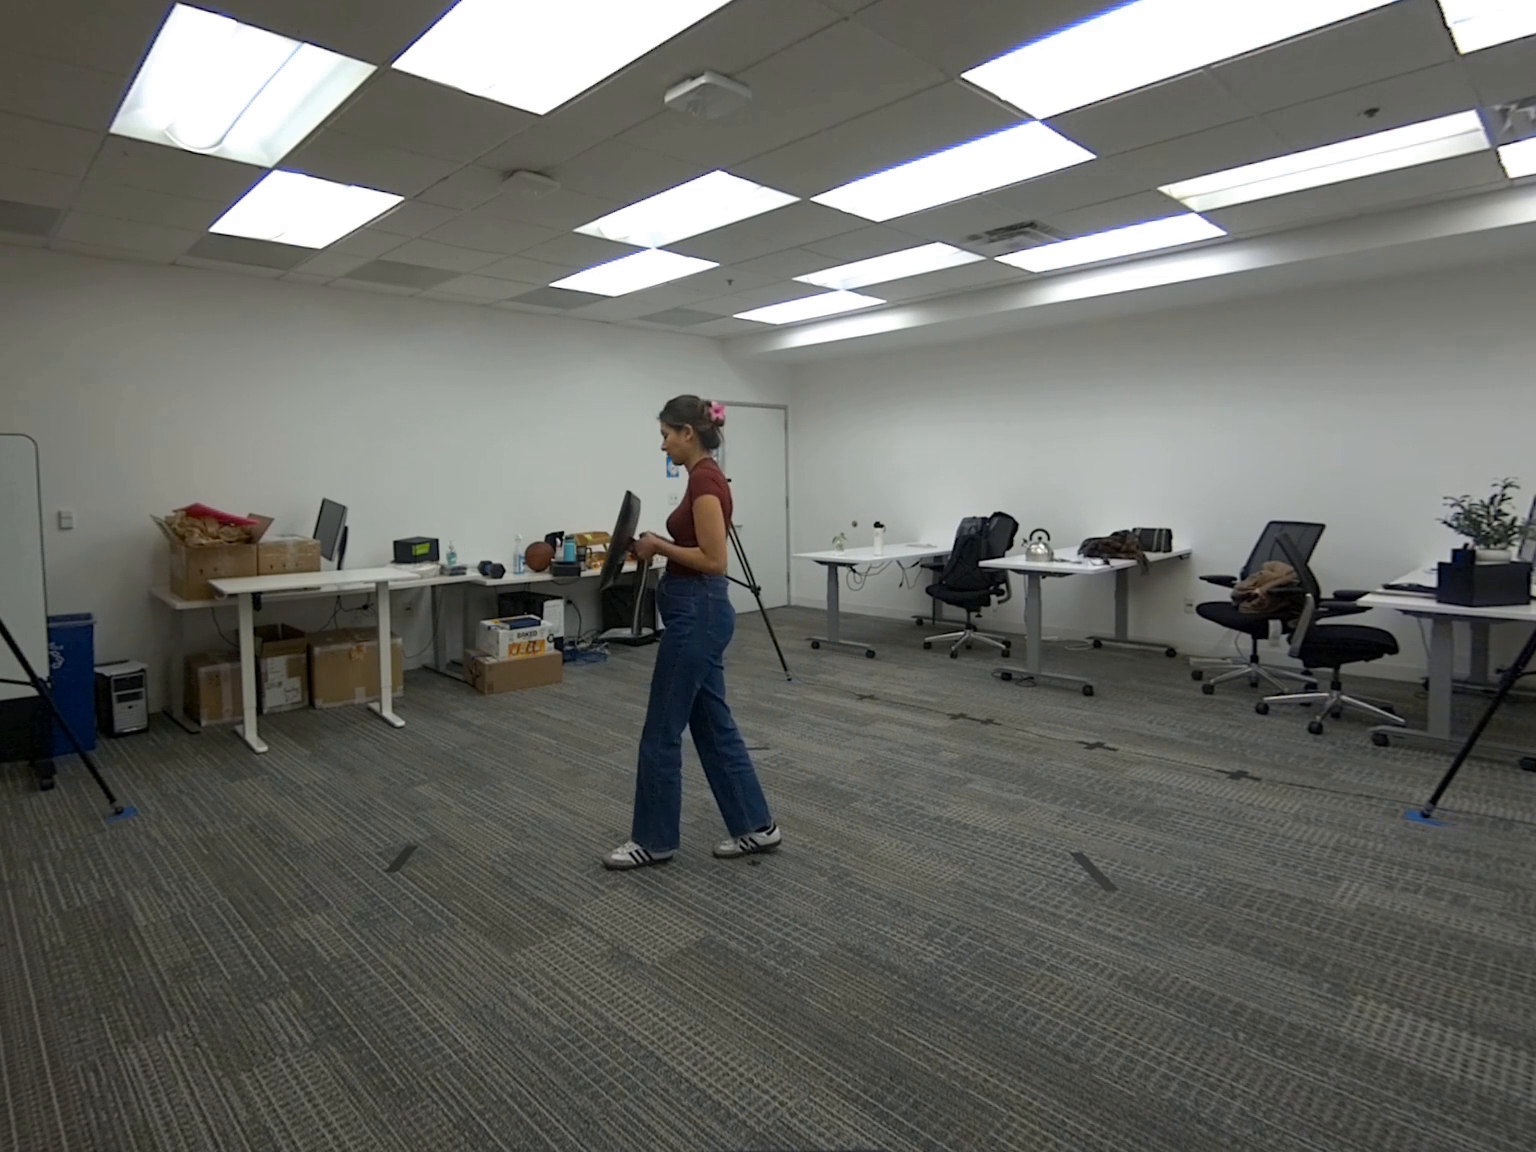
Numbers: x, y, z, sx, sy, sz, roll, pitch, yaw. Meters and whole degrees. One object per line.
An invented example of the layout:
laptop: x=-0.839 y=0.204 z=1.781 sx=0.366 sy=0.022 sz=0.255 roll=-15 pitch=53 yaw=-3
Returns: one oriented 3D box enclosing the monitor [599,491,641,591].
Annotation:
monitor: x=-0.506 y=-0.035 z=3.098 sx=0.186 sy=0.523 sz=0.541 roll=3 pitch=0 yaw=-6
